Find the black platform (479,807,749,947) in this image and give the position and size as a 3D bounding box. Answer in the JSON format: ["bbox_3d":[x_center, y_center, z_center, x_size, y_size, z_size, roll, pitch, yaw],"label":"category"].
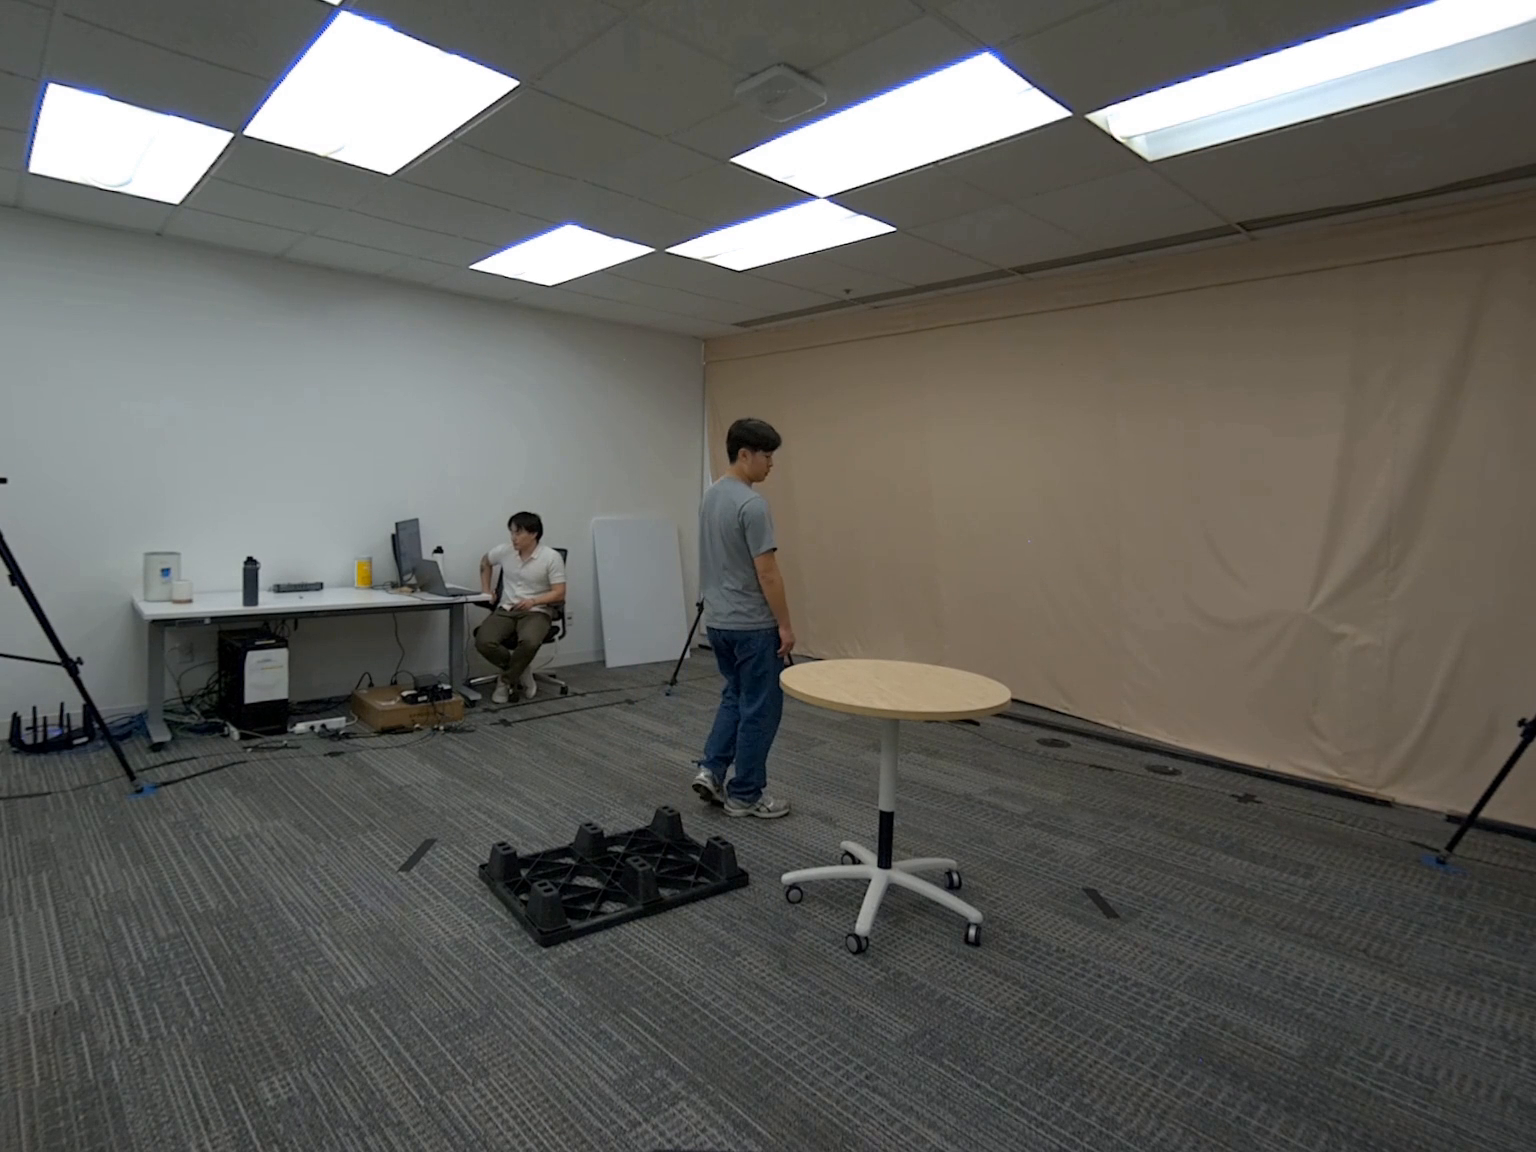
[{"bbox_3d":[-0.562,1.037,3.032,0.788,0.143,0.620,-3,6,-37],"label":"black platform"}]
